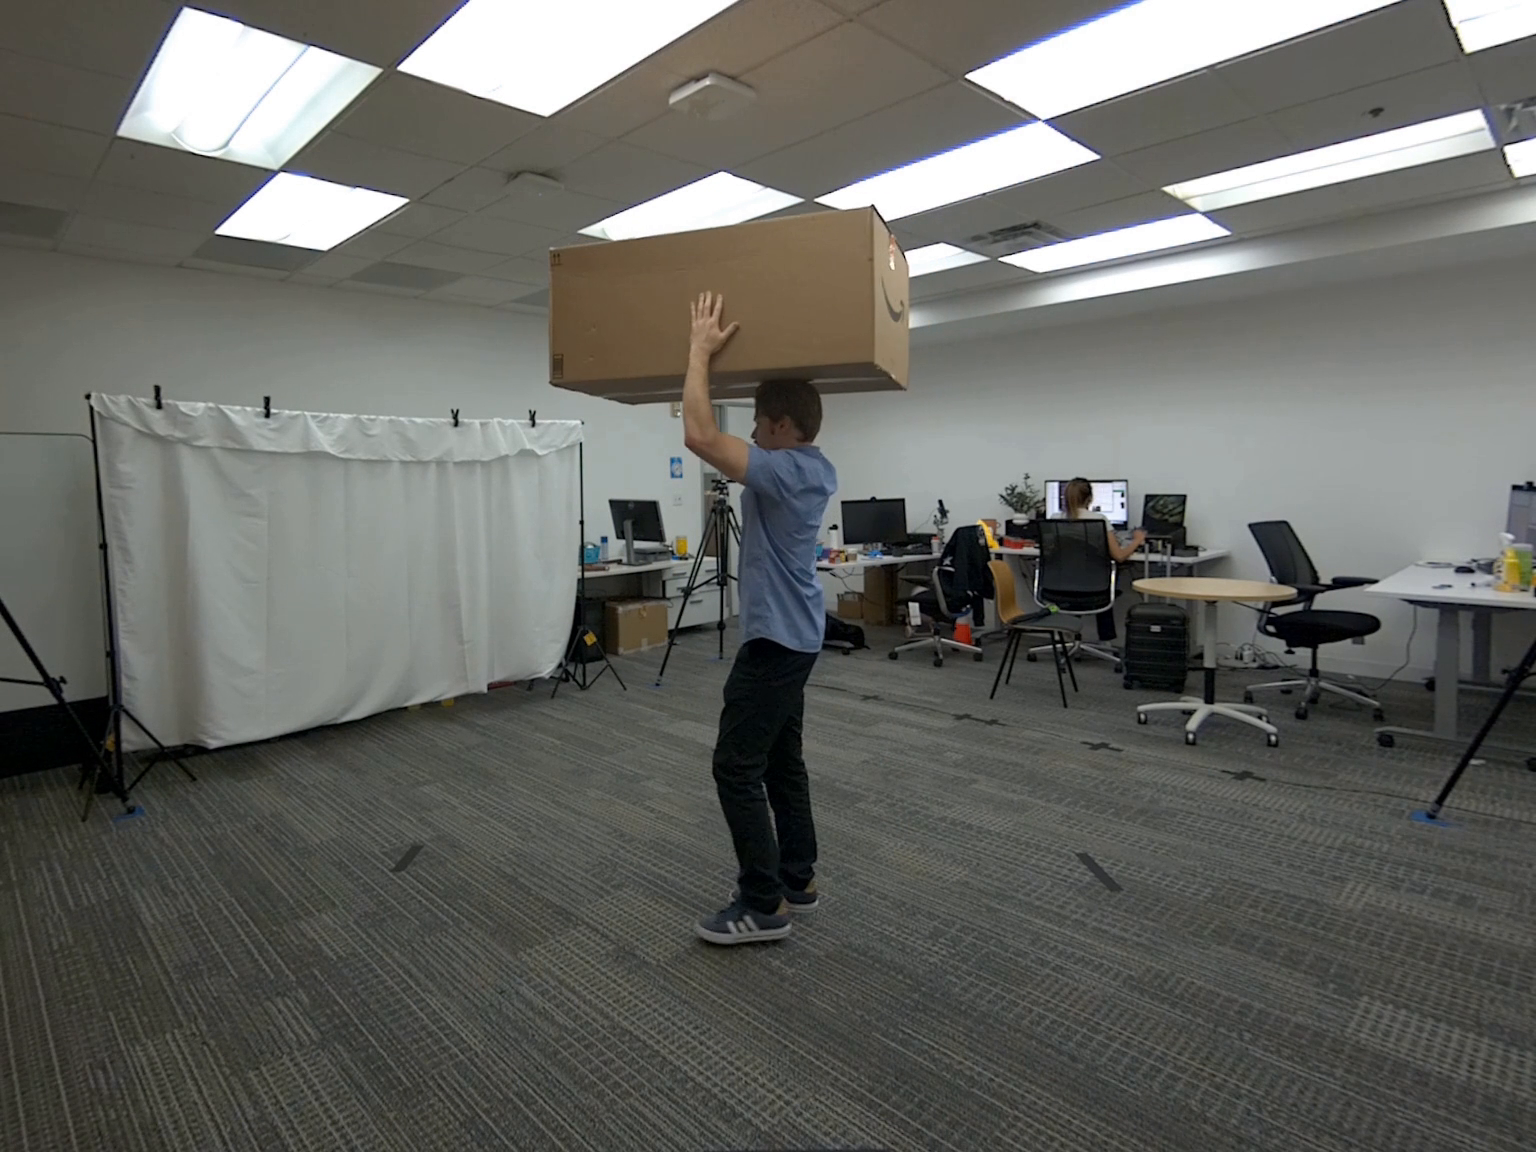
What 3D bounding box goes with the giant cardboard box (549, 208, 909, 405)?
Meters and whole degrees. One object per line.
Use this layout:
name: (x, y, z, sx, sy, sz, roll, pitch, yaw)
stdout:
giant cardboard box: (-0.109, -0.815, 2.728, 1.046, 0.425, 0.567, 1, 3, 21)
